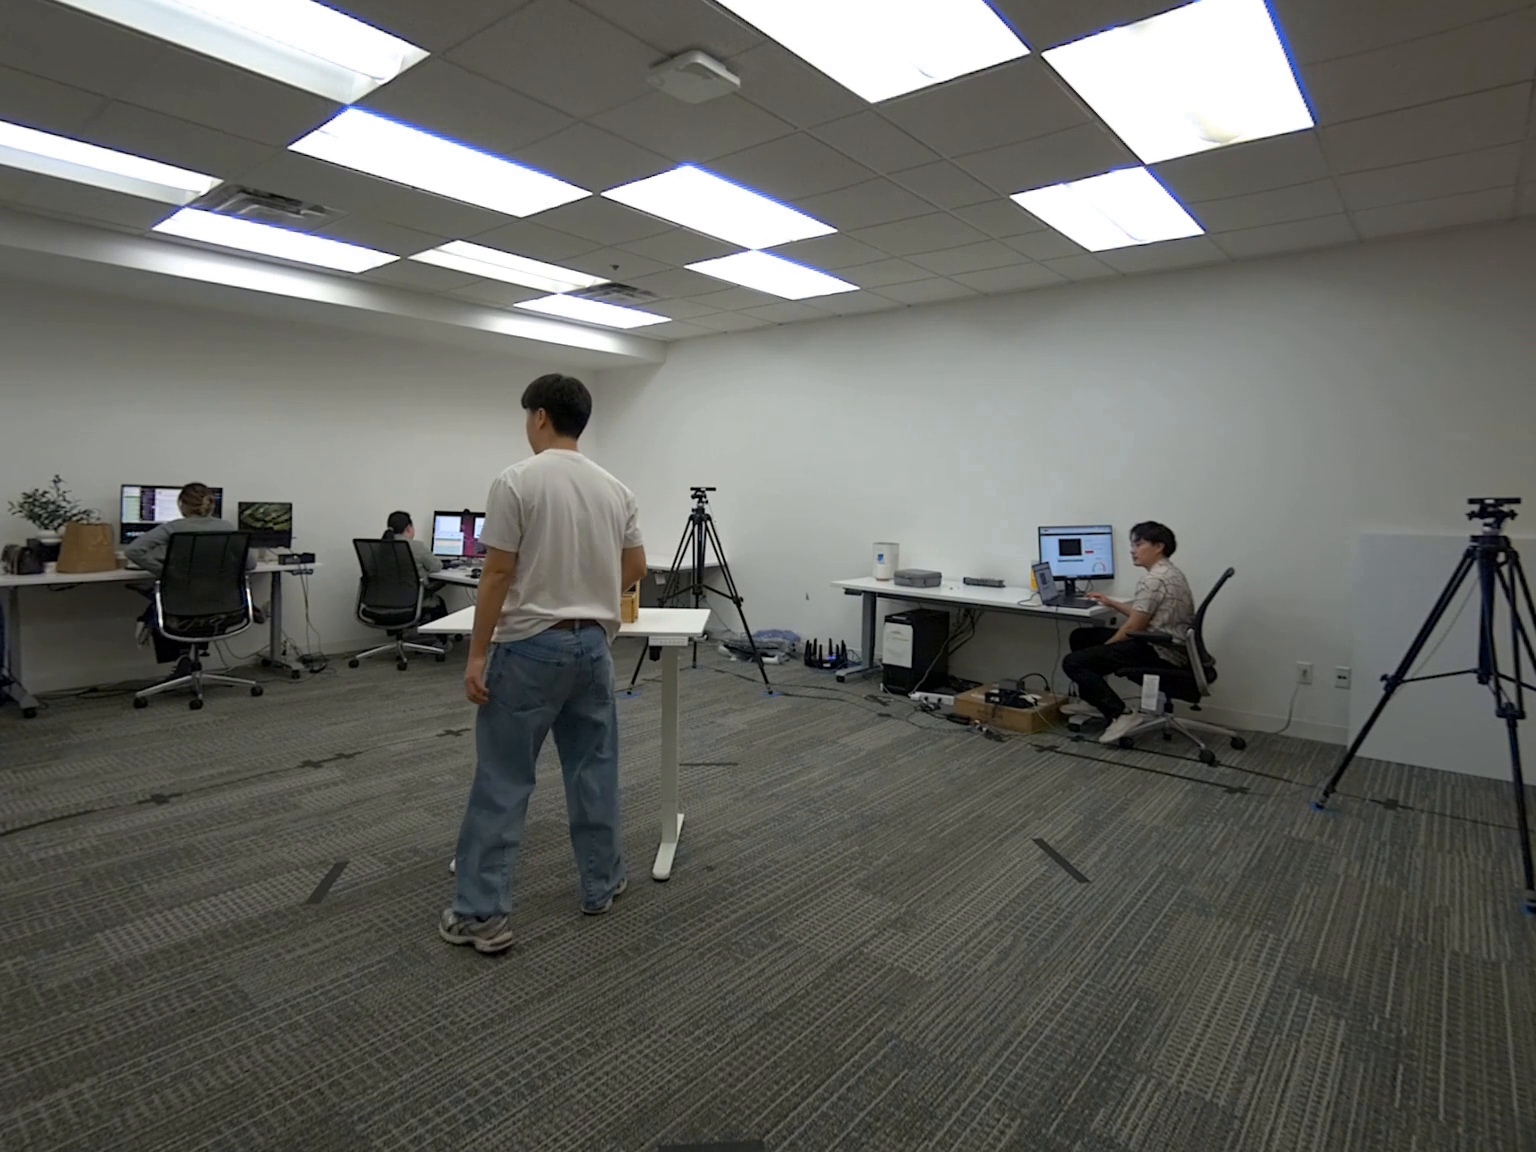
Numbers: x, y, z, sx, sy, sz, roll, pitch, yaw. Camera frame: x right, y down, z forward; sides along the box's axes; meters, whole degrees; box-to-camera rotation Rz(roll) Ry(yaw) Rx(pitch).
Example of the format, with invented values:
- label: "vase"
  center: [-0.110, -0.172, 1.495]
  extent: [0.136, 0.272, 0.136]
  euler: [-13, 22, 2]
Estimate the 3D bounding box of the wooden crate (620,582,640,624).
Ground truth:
- label: "wooden crate"
  center: [-0.673, 0.037, 3.282]
  extent: [0.324, 0.272, 0.304]
  euler: [-2, 4, -3]
